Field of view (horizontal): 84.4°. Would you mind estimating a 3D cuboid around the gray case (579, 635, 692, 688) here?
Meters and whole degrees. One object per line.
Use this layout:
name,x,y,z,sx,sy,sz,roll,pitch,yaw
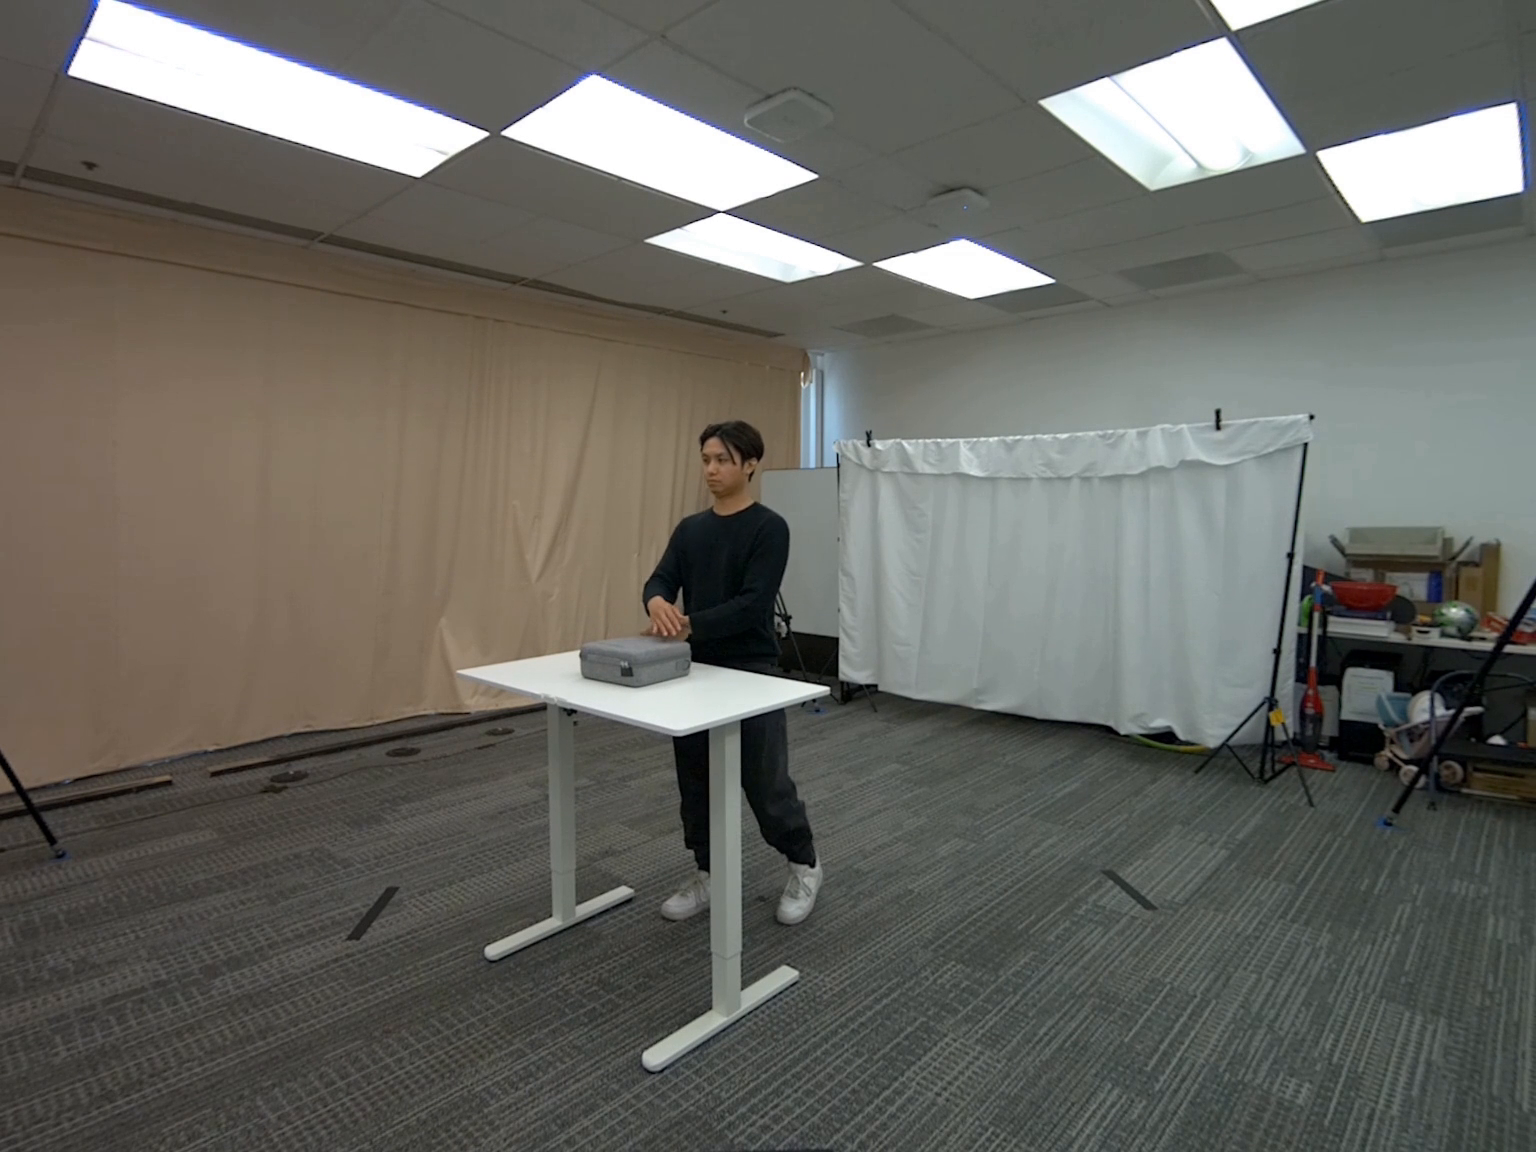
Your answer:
gray case,-0.392,0.246,2.524,0.265,0.104,0.253,3,6,37
